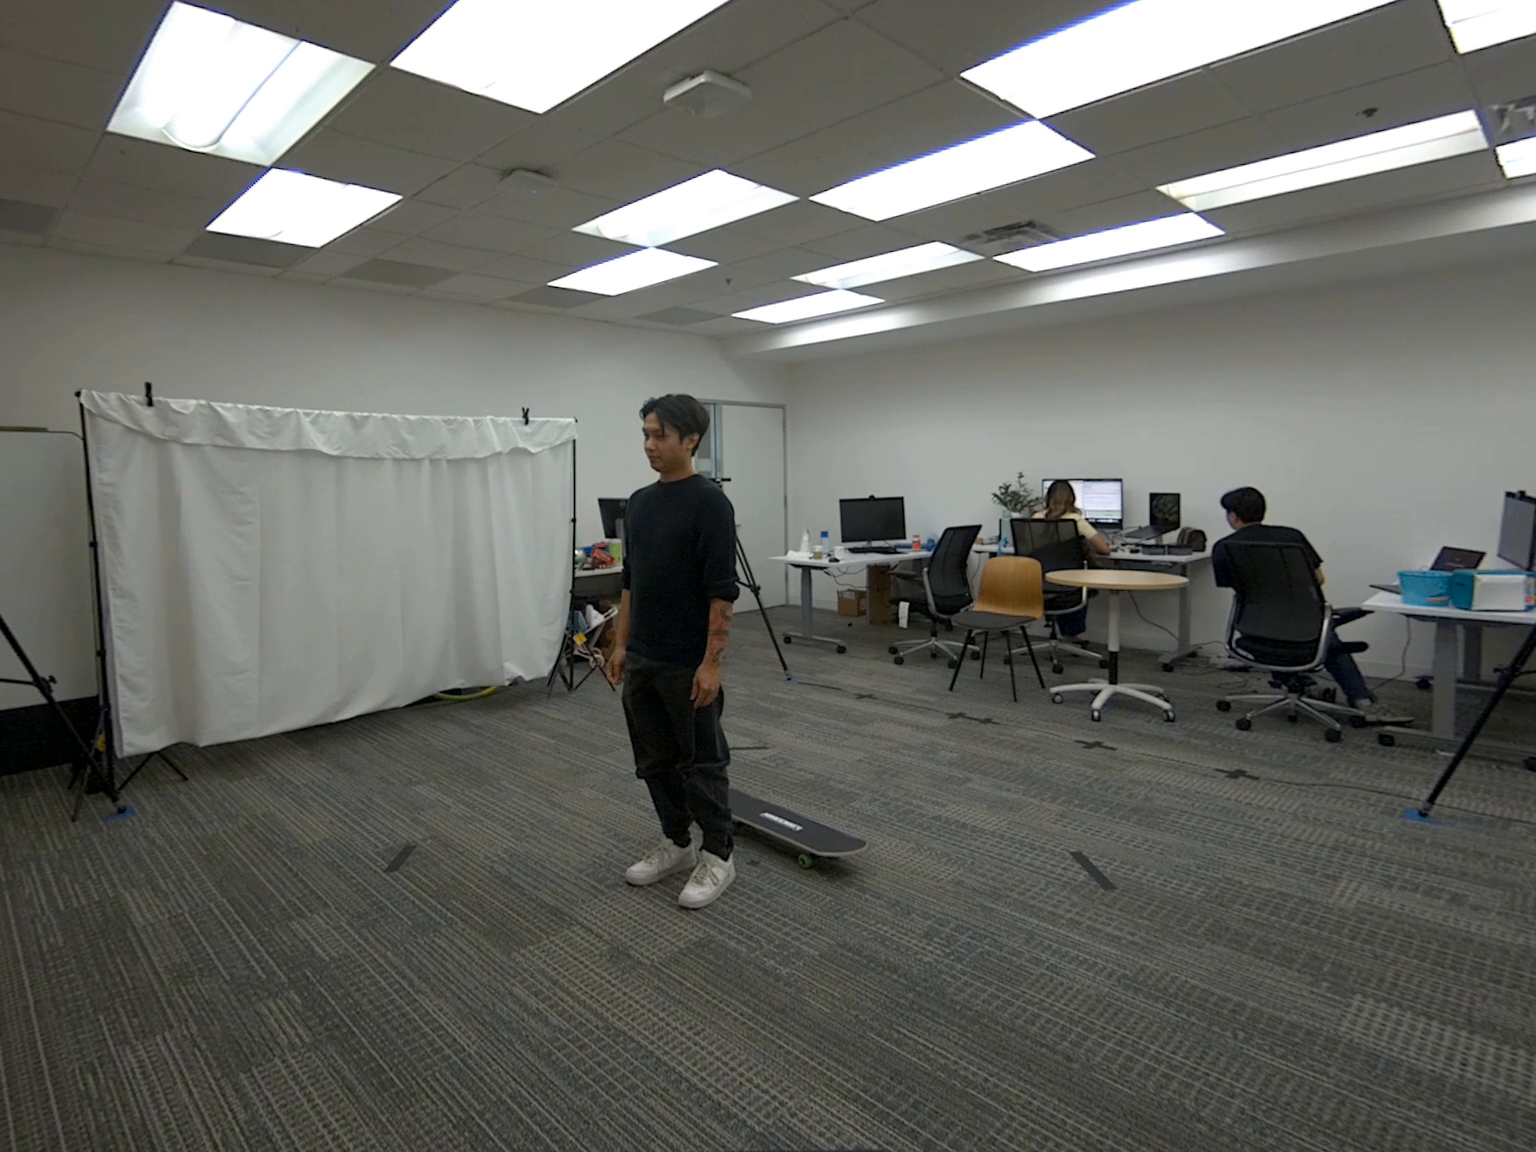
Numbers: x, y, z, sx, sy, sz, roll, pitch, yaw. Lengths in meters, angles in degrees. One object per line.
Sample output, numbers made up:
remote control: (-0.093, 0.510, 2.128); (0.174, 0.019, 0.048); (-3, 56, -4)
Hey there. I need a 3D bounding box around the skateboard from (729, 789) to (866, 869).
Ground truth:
skateboard: (0.054, 0.966, 3.252); (0.188, 0.110, 0.810); (-5, 8, -42)
